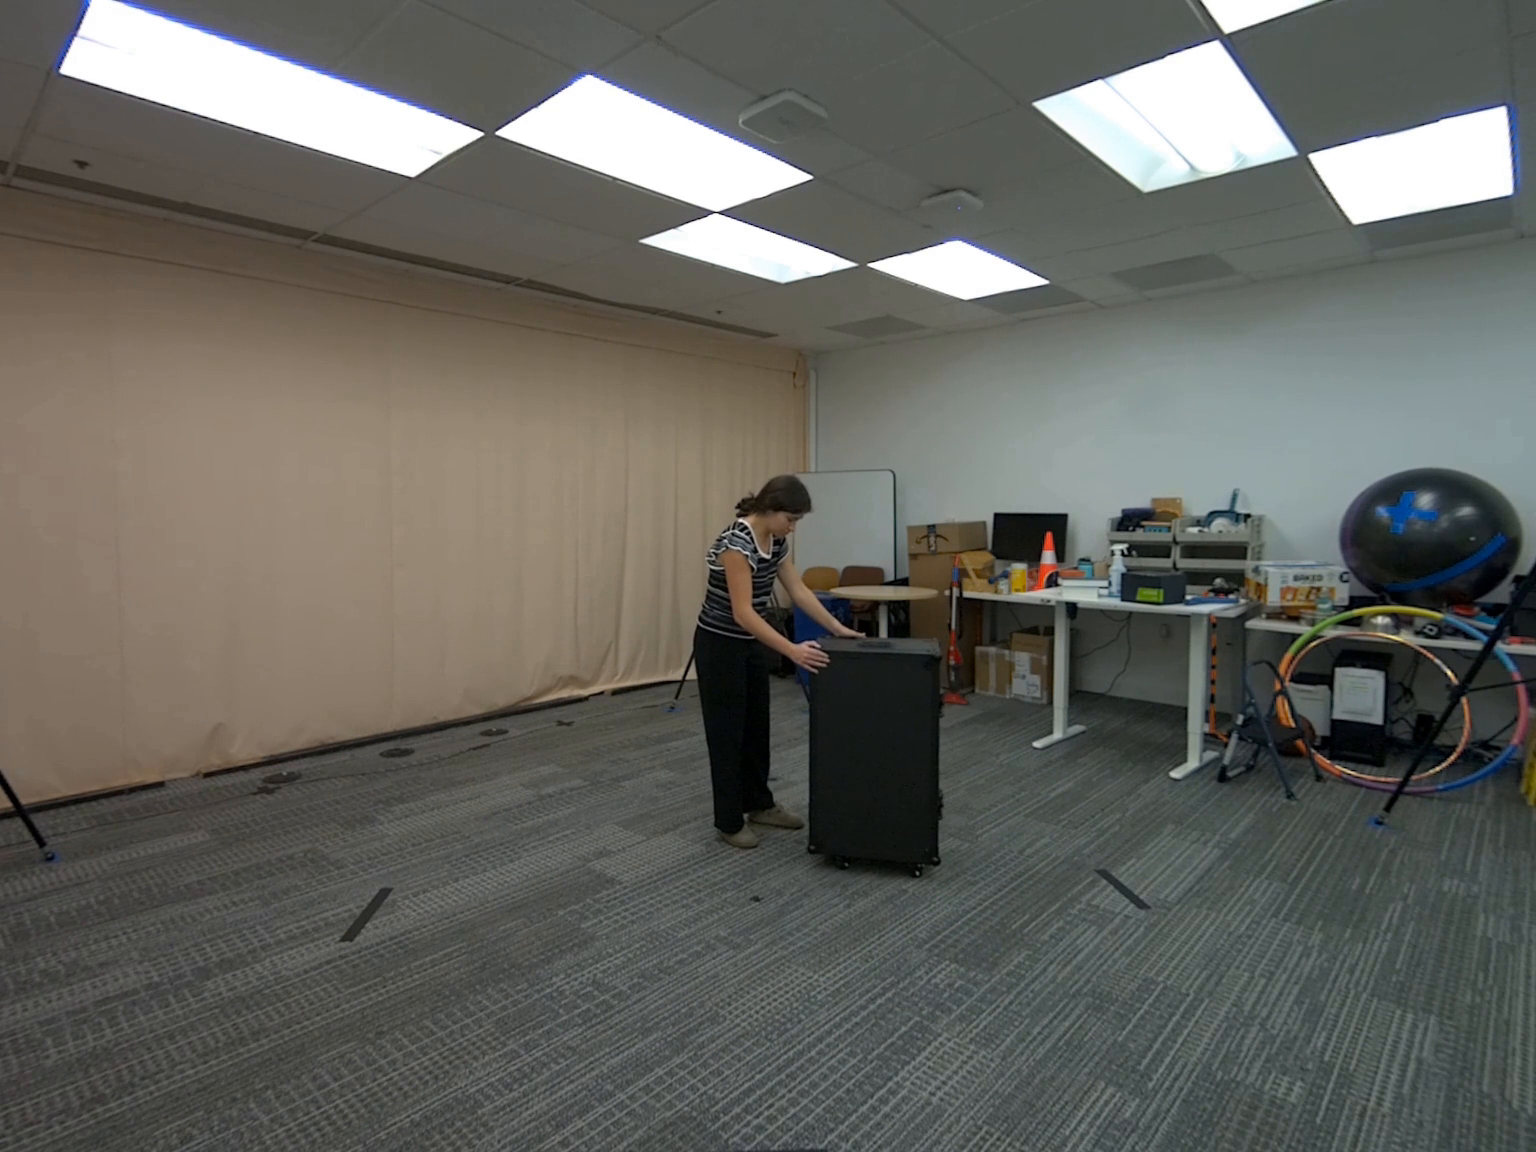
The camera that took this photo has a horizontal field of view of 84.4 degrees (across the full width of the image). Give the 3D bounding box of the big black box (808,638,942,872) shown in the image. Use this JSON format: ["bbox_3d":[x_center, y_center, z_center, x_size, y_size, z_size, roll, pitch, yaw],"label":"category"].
[{"bbox_3d":[0.427,0.694,3.304,0.529,0.860,0.391,0,2,13],"label":"big black box"}]
